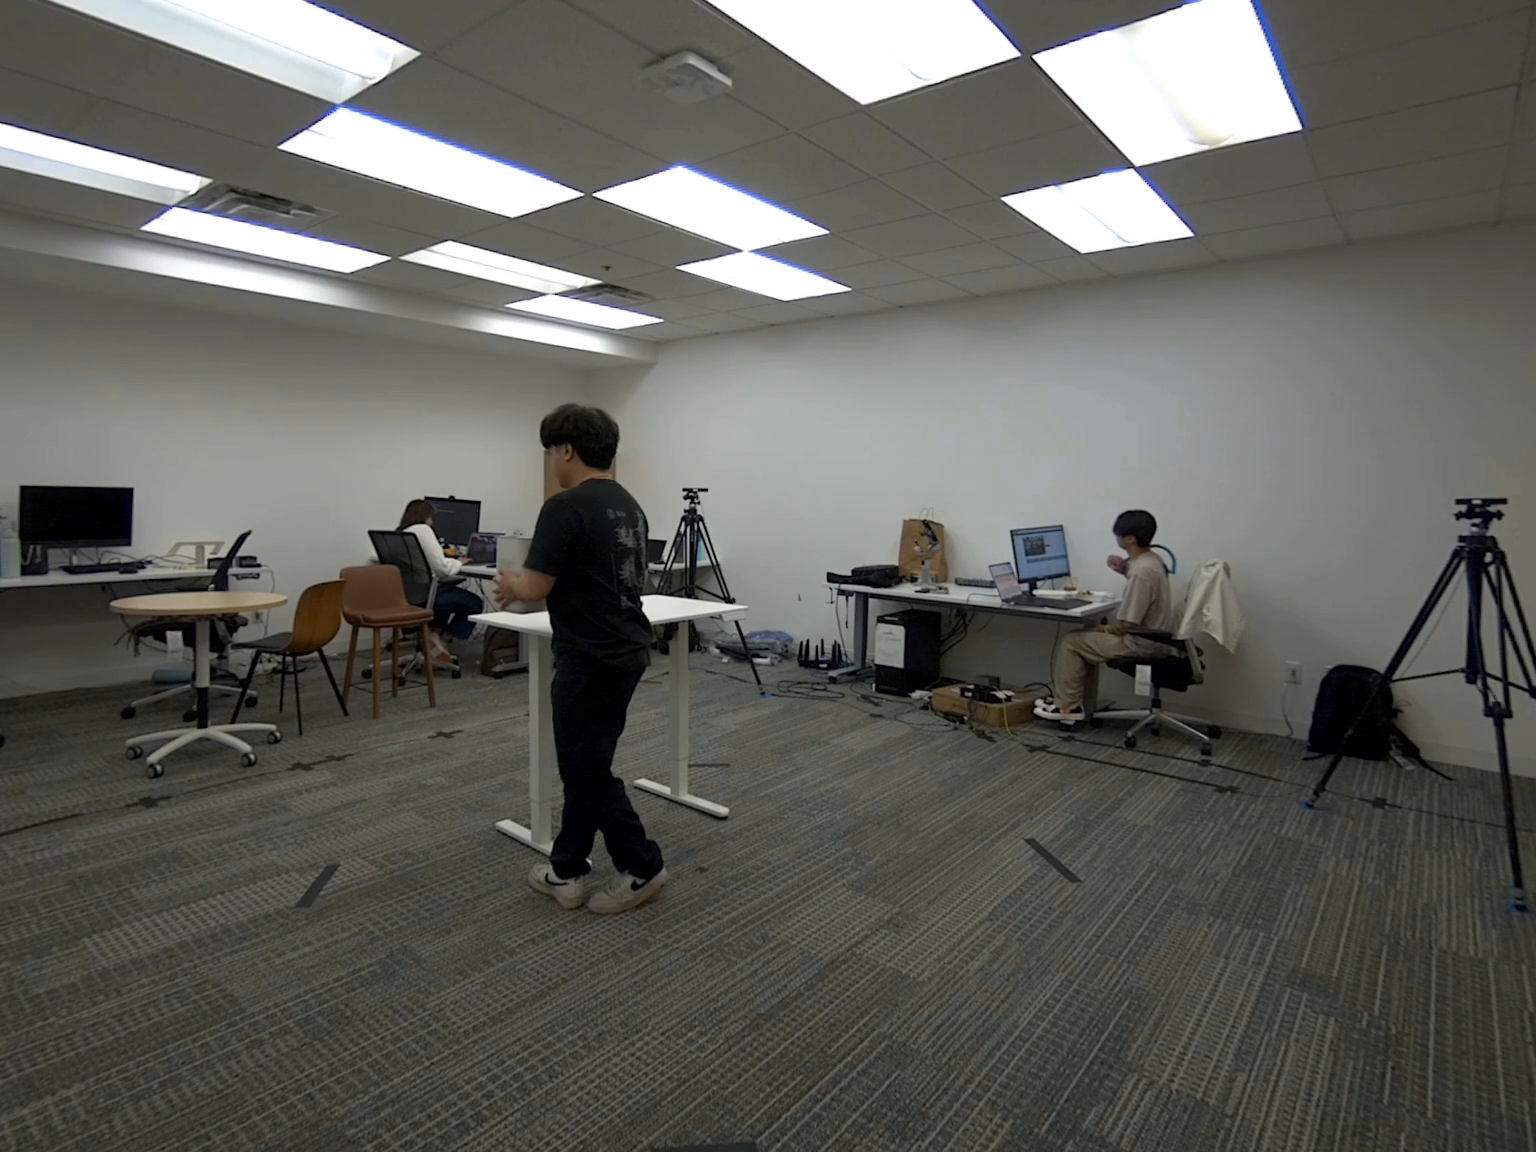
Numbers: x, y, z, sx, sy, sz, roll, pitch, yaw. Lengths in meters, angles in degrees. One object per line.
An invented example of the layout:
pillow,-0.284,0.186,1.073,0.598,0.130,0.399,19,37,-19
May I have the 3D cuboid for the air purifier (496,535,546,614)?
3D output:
air purifier,-0.864,-0.012,3.001,0.177,0.265,0.166,4,3,36
